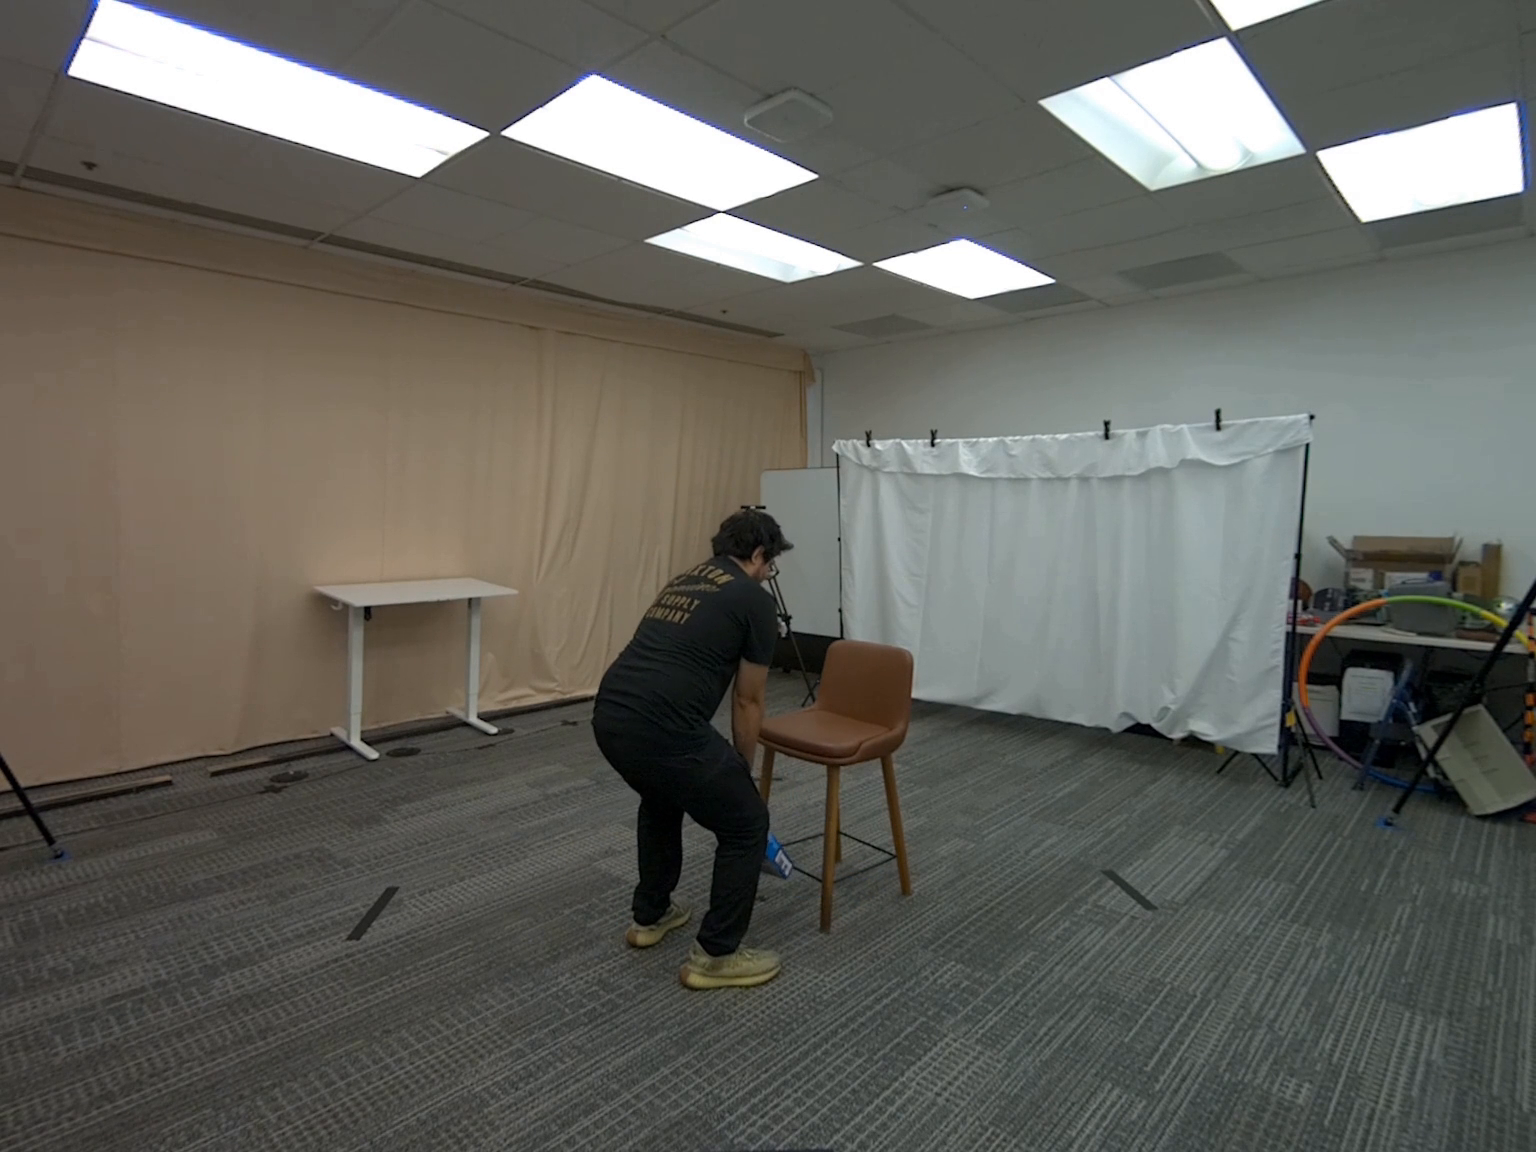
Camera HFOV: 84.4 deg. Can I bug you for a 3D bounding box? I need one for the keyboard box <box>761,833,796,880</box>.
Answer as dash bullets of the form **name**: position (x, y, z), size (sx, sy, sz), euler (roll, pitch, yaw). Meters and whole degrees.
- **keyboard box**: position (-0.082, 0.829, 2.740), size (0.181, 0.425, 0.059), euler (-3, 39, 42)
